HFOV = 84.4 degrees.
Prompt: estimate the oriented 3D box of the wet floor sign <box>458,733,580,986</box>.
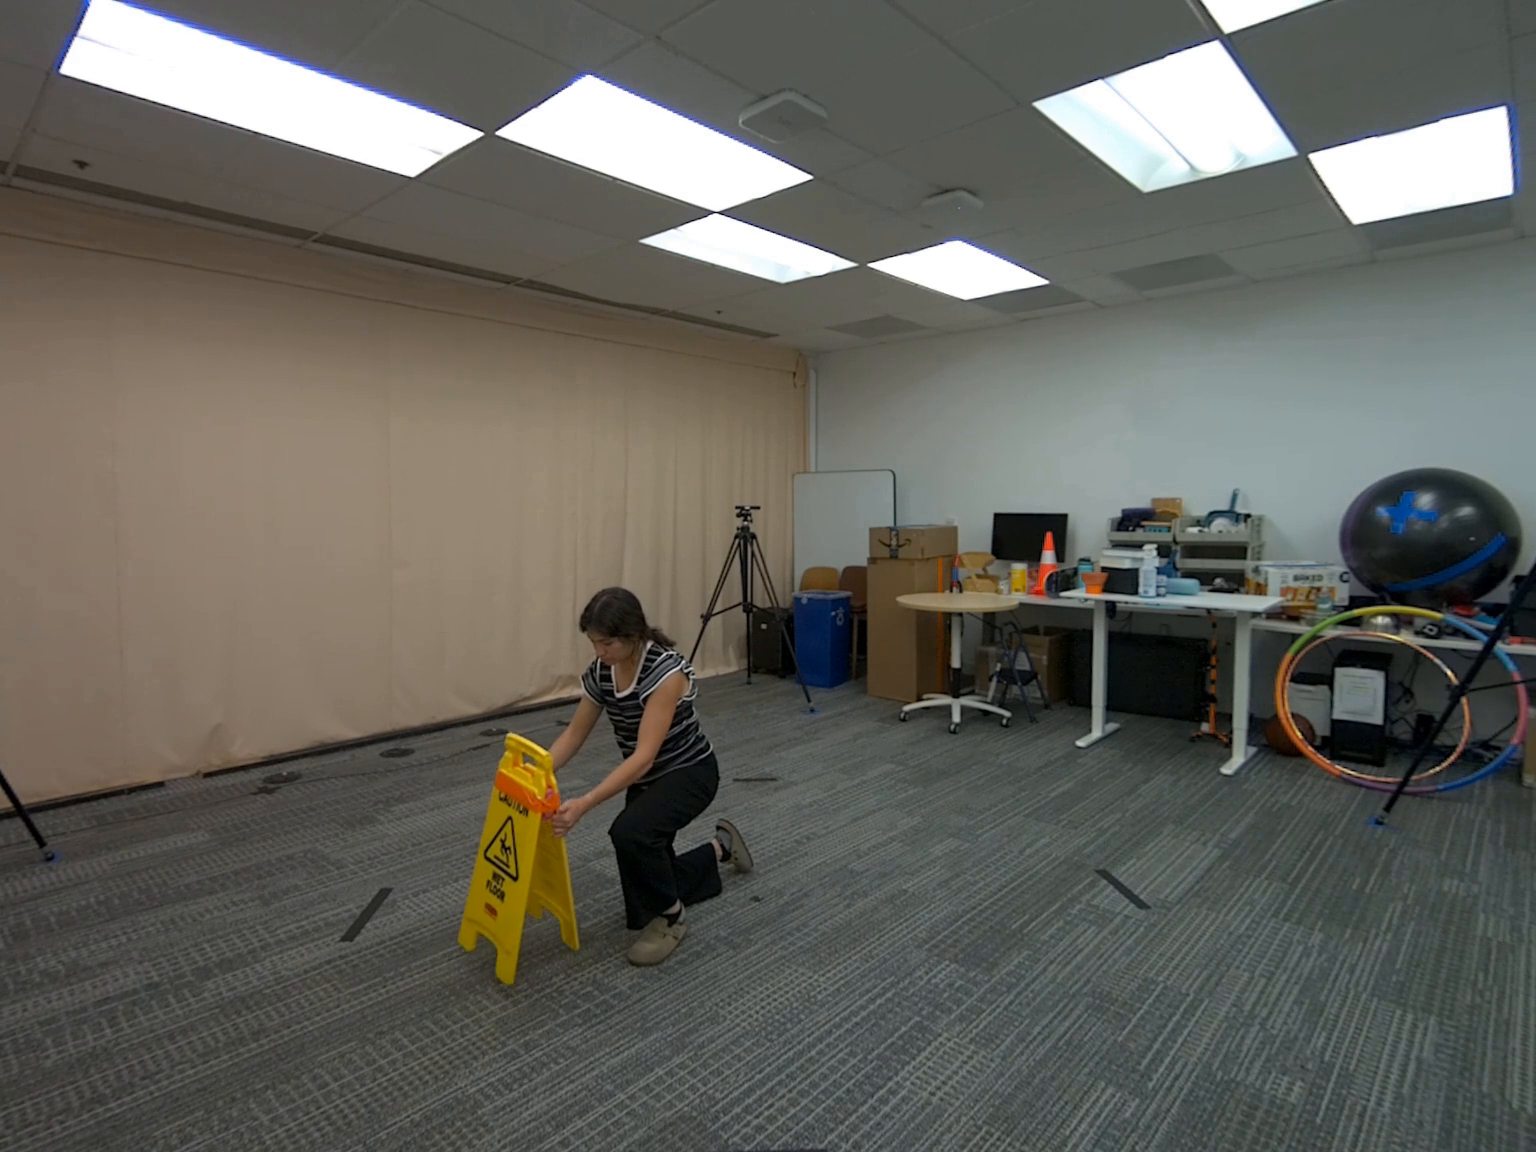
[{"bbox_3d":[-0.726,0.806,2.499,0.292,0.643,0.281,12,12,41],"label":"wet floor sign"}]
